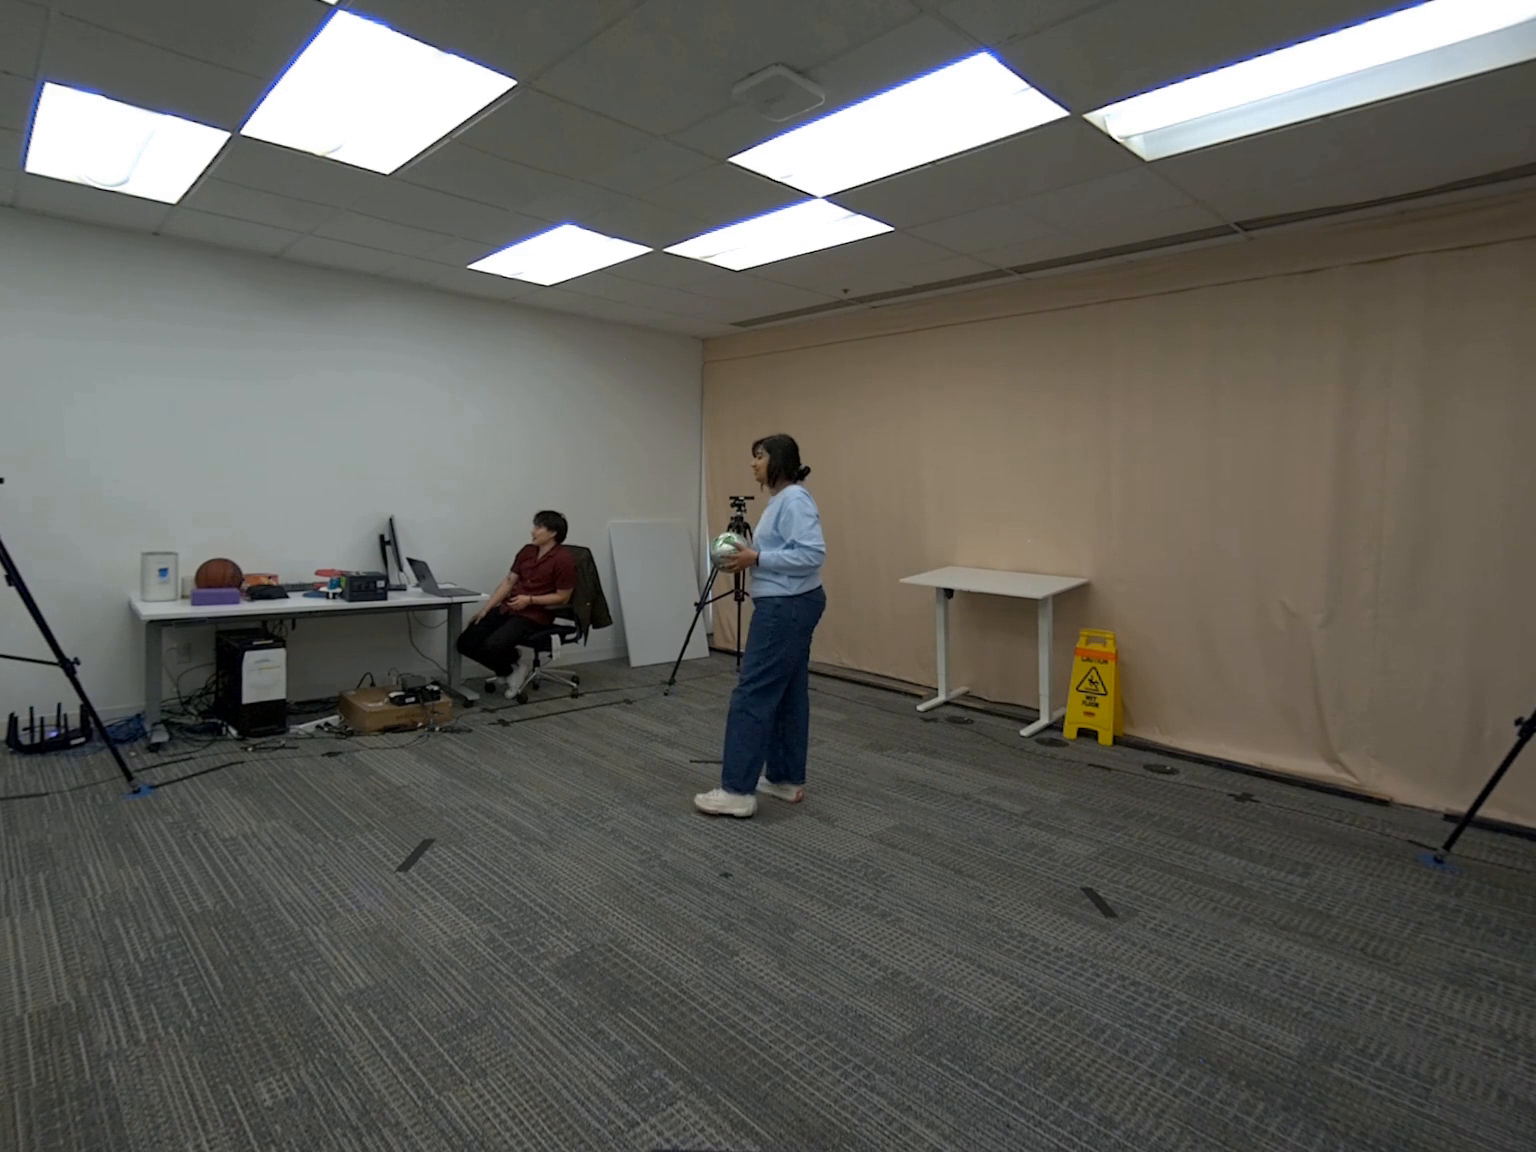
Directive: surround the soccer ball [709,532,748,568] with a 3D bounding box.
[{"bbox_3d":[-0.181,-0.105,3.816,0.187,0.187,0.188,1,4,-1],"label":"soccer ball"}]
